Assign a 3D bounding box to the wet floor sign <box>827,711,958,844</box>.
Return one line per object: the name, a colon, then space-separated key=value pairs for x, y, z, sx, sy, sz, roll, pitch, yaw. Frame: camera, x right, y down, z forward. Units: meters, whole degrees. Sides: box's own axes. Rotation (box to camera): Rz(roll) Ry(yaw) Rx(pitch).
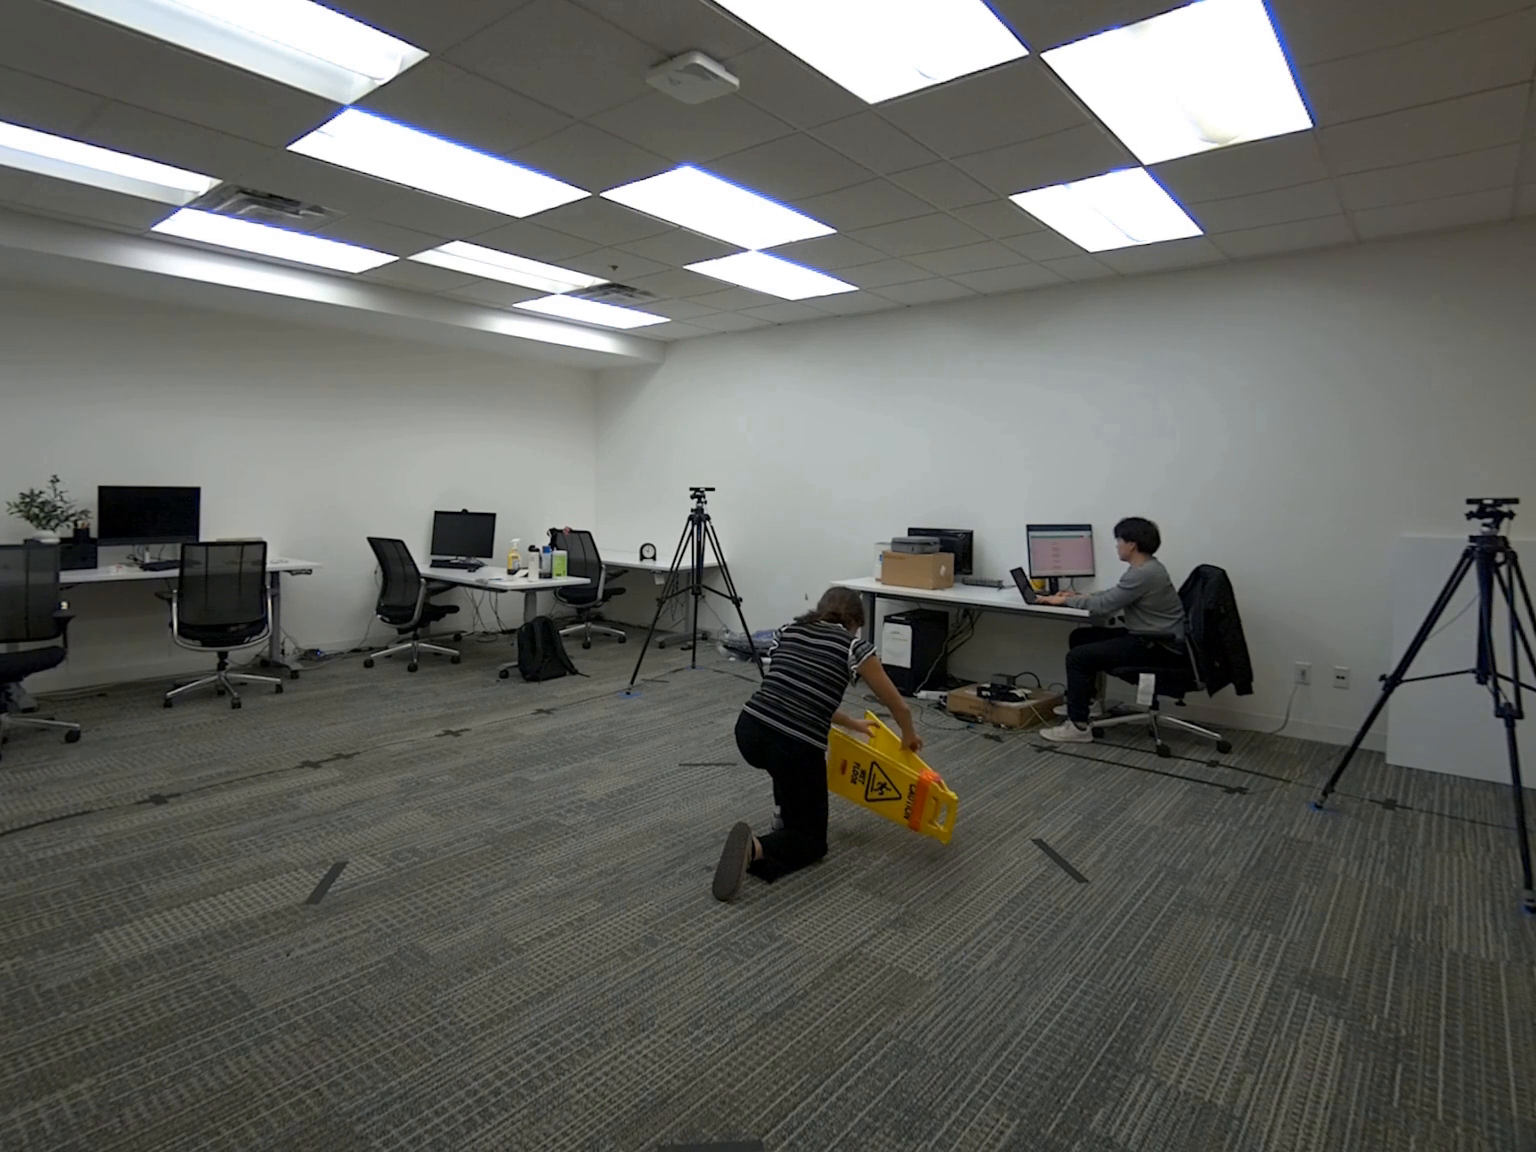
wet floor sign: x=0.492 y=0.836 z=3.460 sx=0.281 sy=0.279 sz=0.673 roll=-2 pitch=18 yaw=-37
